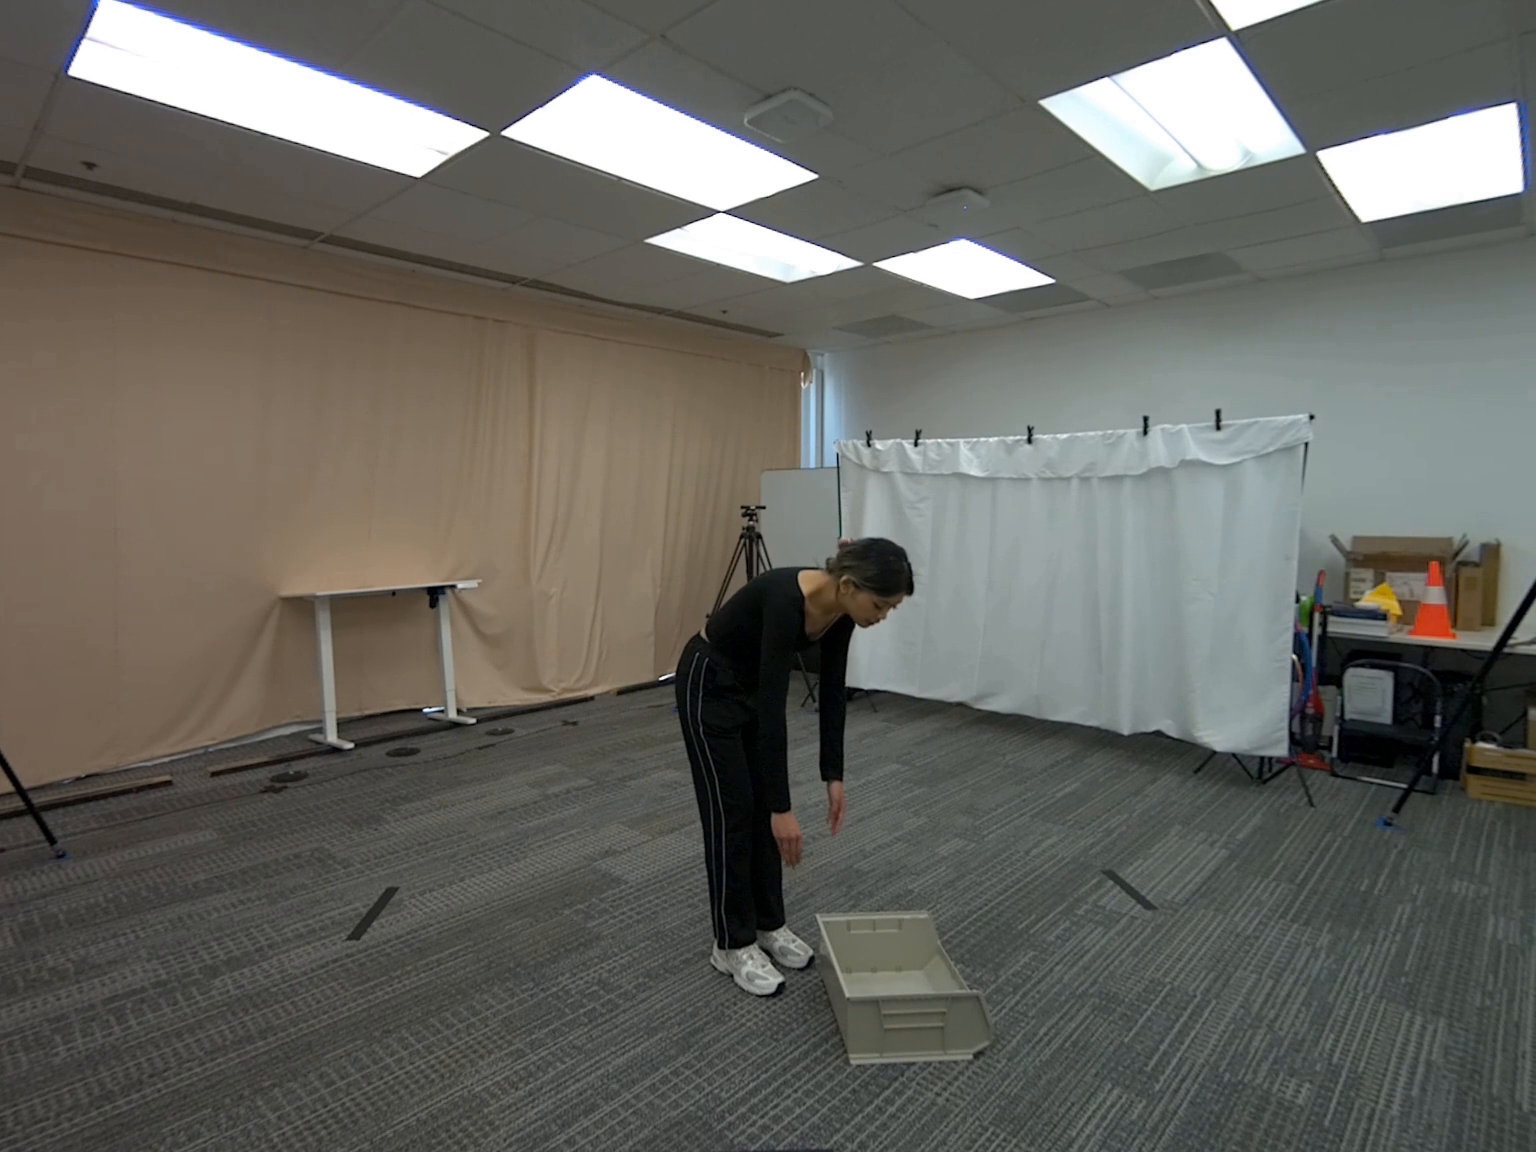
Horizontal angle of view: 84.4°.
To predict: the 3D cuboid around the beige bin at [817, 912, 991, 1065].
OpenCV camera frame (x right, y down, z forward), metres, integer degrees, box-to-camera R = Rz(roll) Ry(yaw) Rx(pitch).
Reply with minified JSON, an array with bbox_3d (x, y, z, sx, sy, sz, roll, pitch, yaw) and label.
[{"bbox_3d":[0.362,1.115,2.300,0.375,0.188,0.426,-1,5,-6],"label":"beige bin"}]
